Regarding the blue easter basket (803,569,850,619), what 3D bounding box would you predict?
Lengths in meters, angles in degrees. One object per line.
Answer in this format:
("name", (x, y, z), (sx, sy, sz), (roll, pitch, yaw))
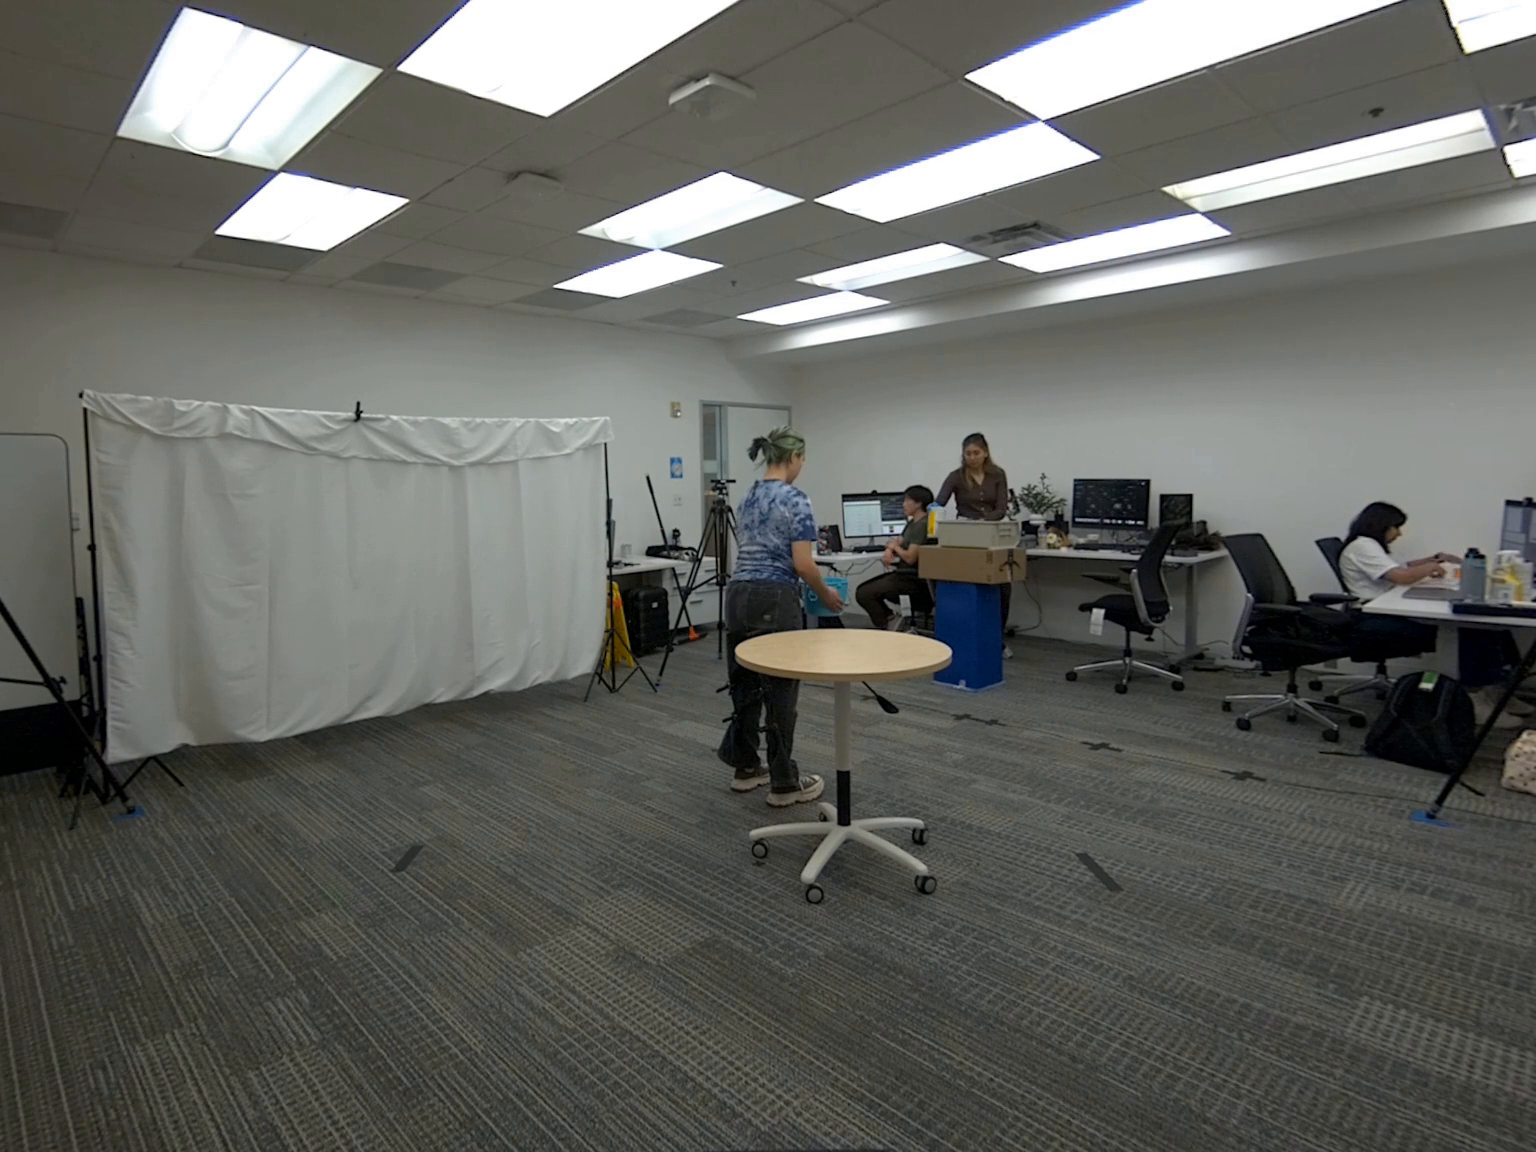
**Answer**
("blue easter basket", (0.259, 0.098, 3.940), (0.243, 0.155, 0.245), (0, 5, -2))
